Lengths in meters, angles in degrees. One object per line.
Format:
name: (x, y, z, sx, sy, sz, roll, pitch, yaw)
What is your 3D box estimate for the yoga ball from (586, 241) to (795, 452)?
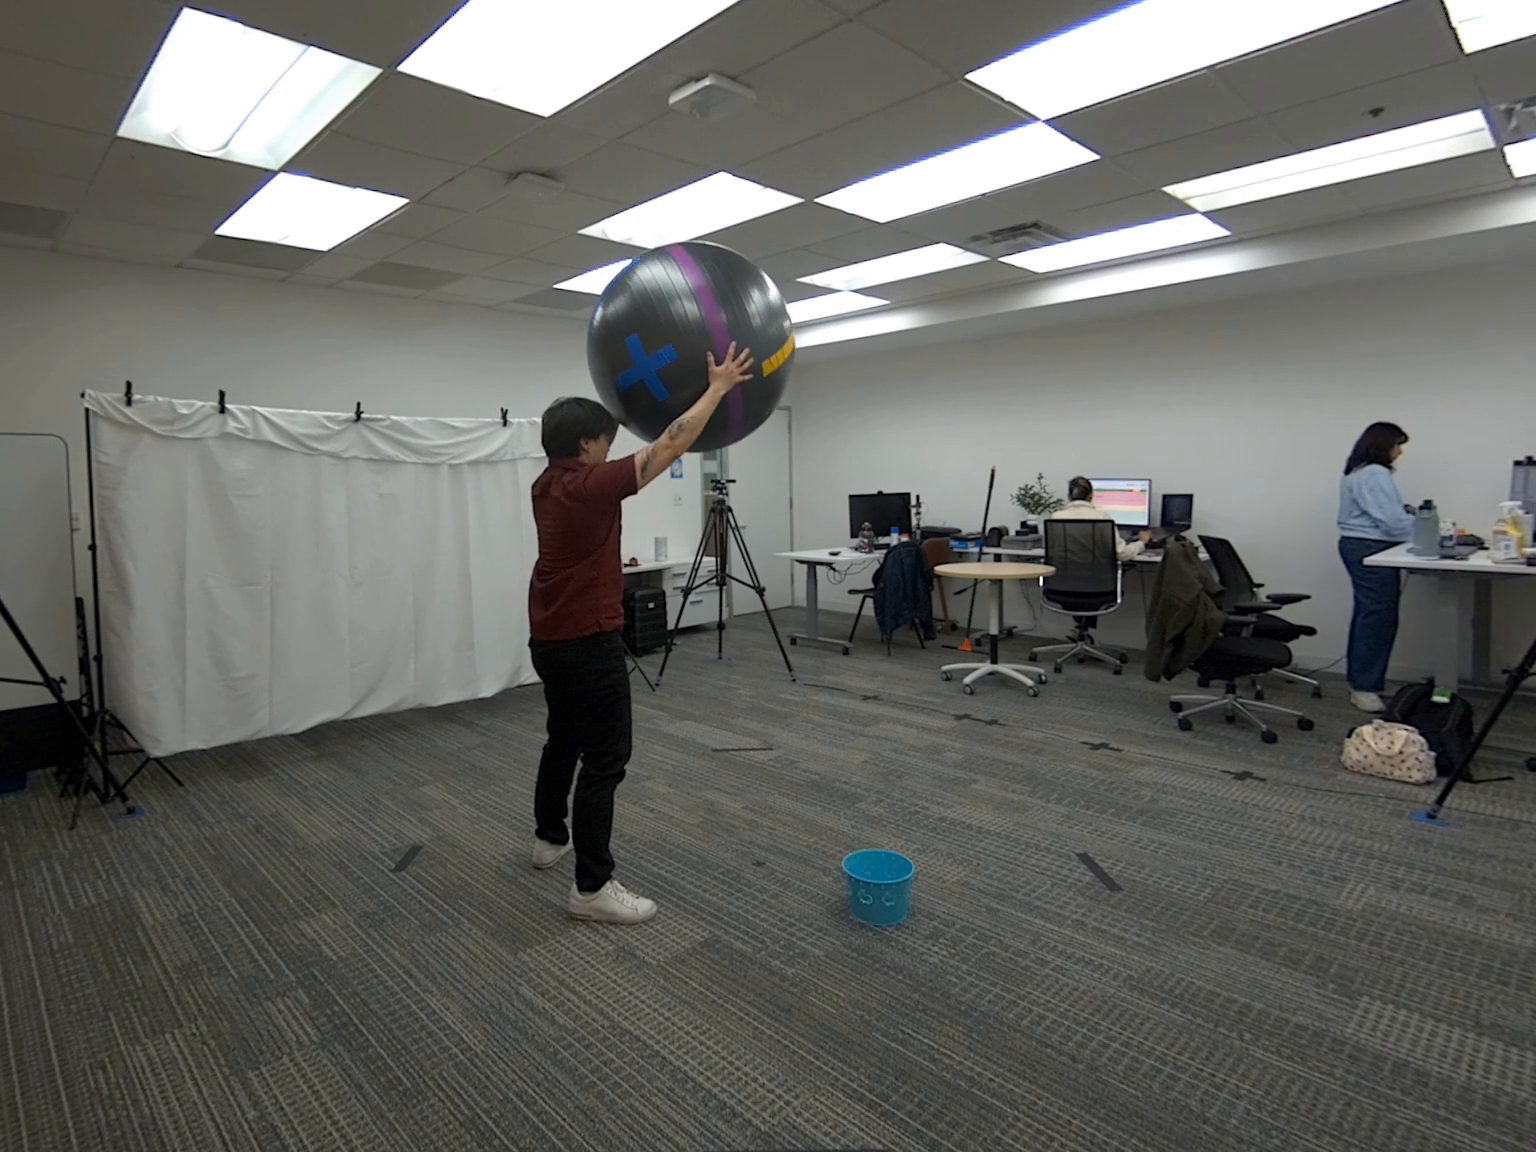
yoga ball: (-0.280, -0.823, 3.137, 0.757, 0.755, 0.762, -1, 5, -2)
